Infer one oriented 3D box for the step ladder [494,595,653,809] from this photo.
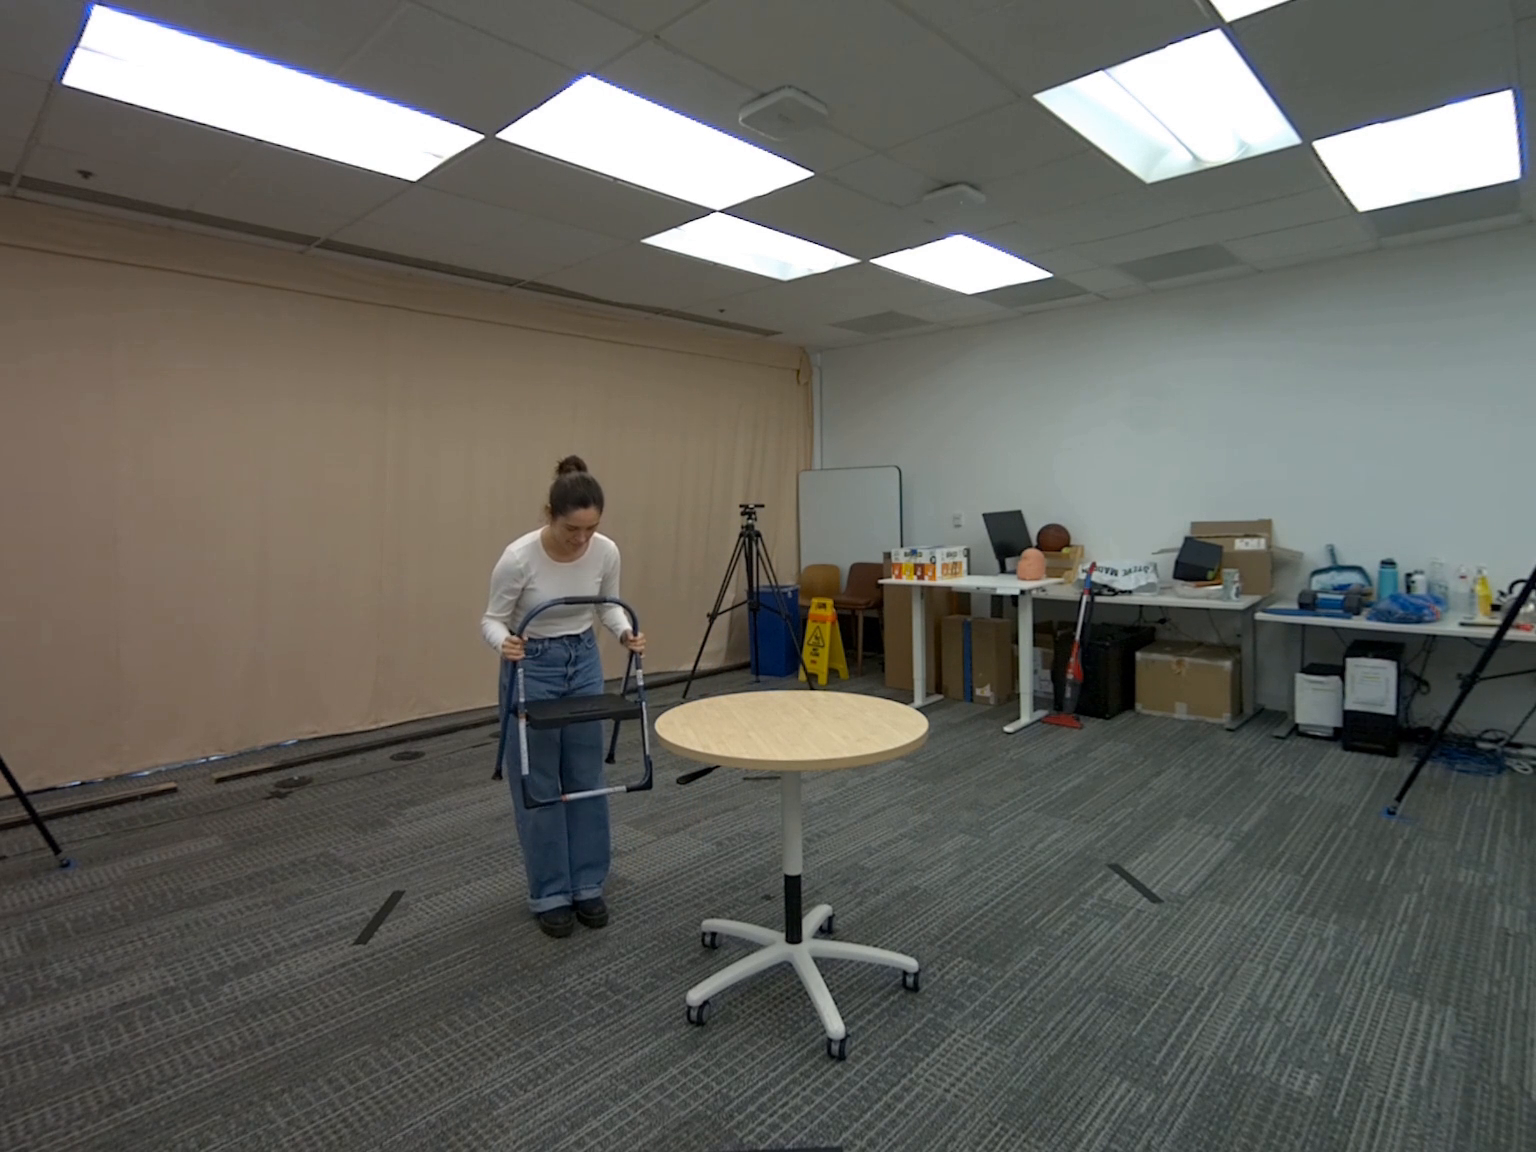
[{"bbox_3d":[-0.623,0.362,2.669,0.418,0.605,0.360,-1,4,-33],"label":"step ladder"}]
